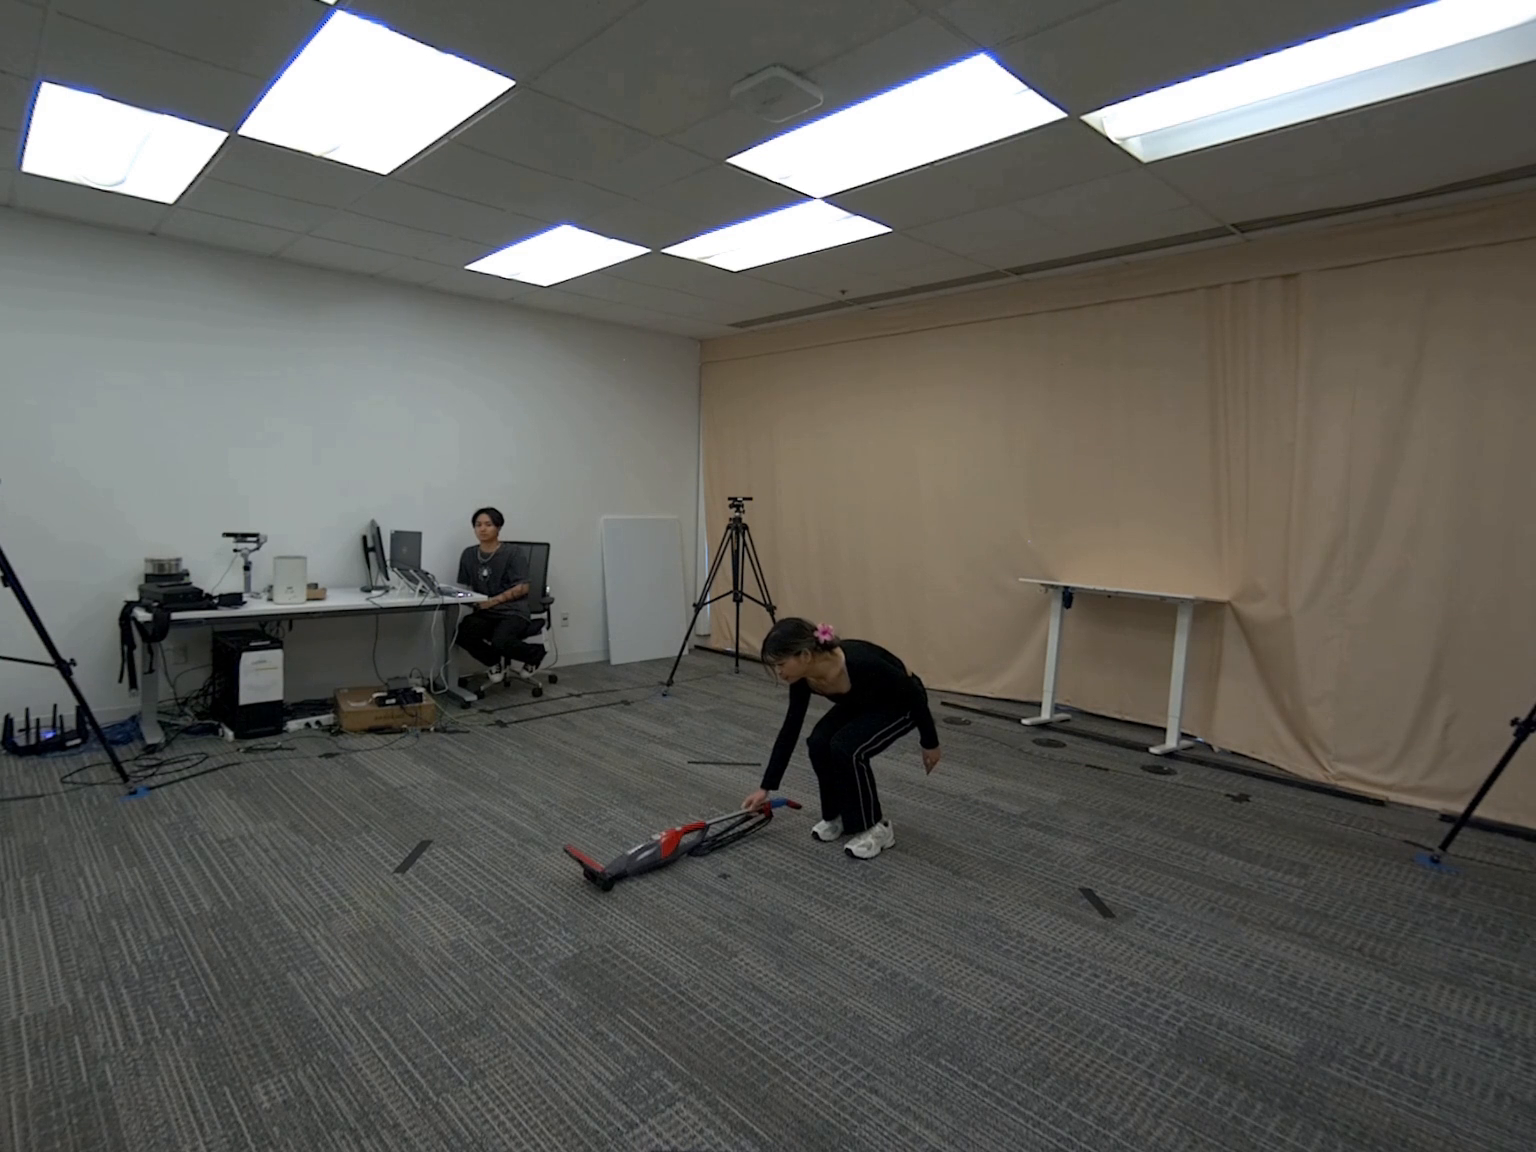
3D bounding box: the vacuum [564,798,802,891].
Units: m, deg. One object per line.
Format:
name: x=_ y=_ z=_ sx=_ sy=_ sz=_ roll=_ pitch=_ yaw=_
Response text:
vacuum: x=-0.267 y=1.030 z=3.307 sx=1.025 sy=0.144 sz=0.259 roll=-2 pitch=5 yaw=-41
